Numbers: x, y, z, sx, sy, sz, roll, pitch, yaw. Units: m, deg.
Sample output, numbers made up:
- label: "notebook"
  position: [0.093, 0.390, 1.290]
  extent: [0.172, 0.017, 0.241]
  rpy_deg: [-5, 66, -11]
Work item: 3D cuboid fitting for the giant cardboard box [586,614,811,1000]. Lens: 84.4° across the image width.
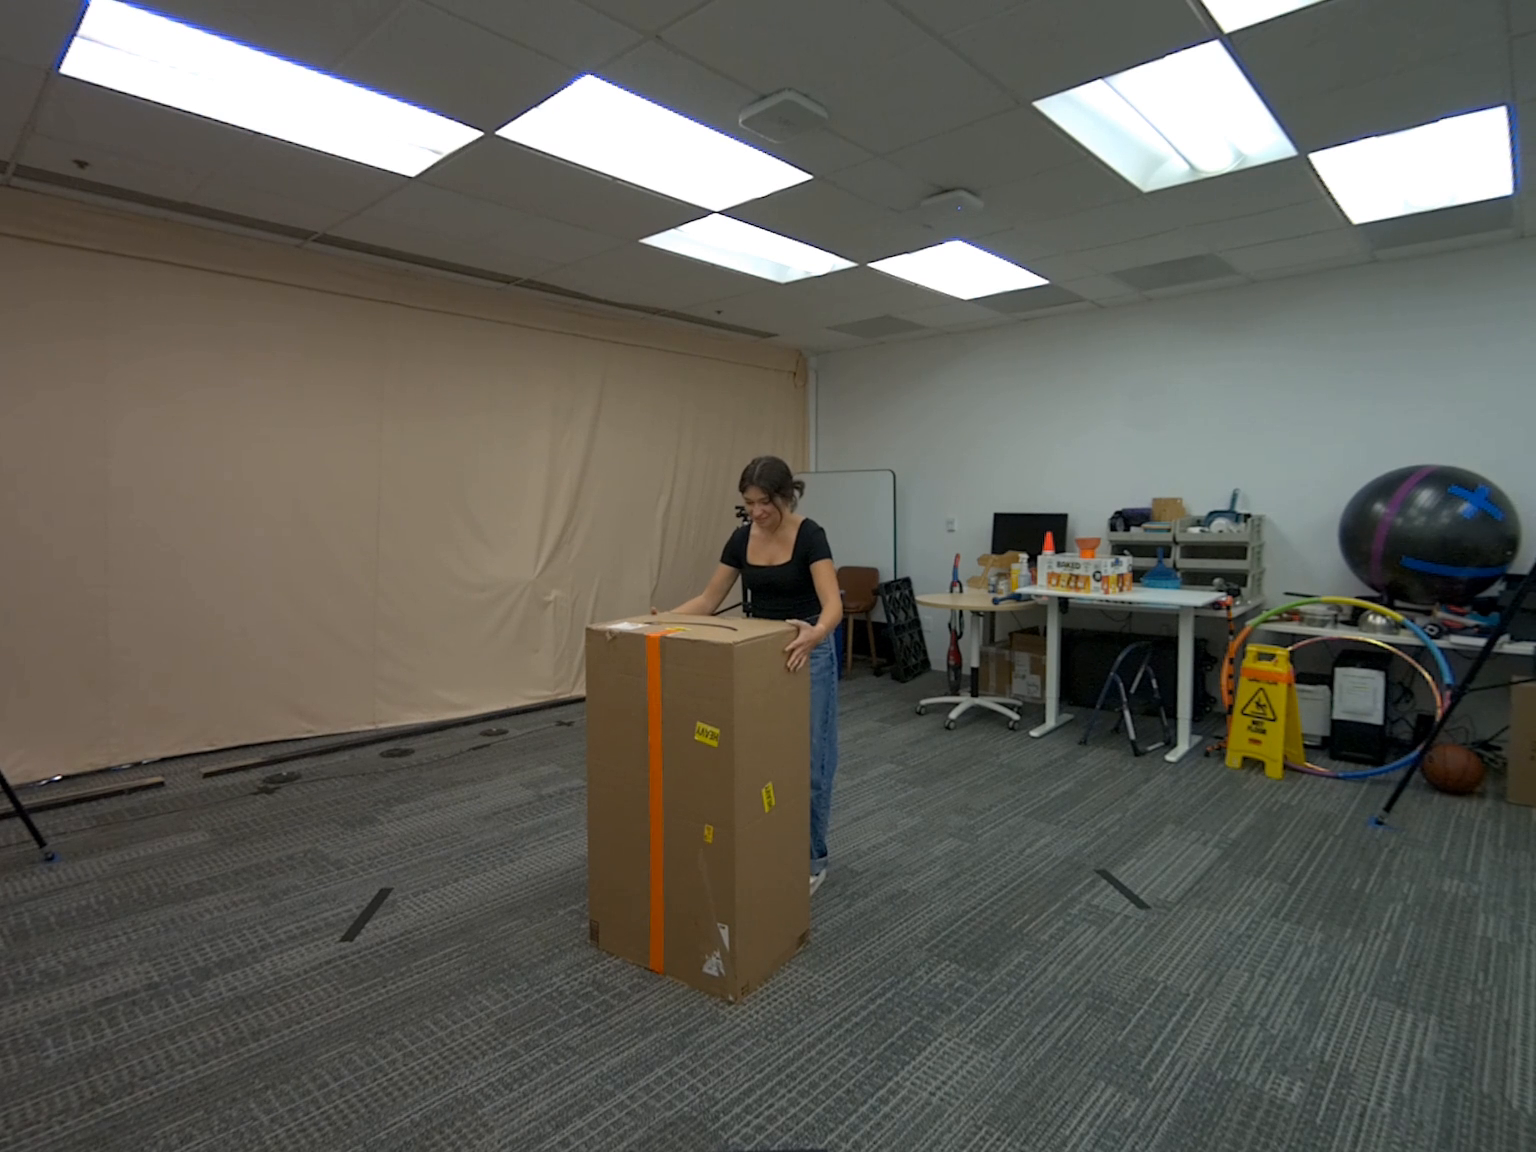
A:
- label: "giant cardboard box"
  position: [-0.225, 0.666, 2.652]
  extent: [0.595, 1.024, 0.414]
  rpy_deg: [2, 4, 35]
